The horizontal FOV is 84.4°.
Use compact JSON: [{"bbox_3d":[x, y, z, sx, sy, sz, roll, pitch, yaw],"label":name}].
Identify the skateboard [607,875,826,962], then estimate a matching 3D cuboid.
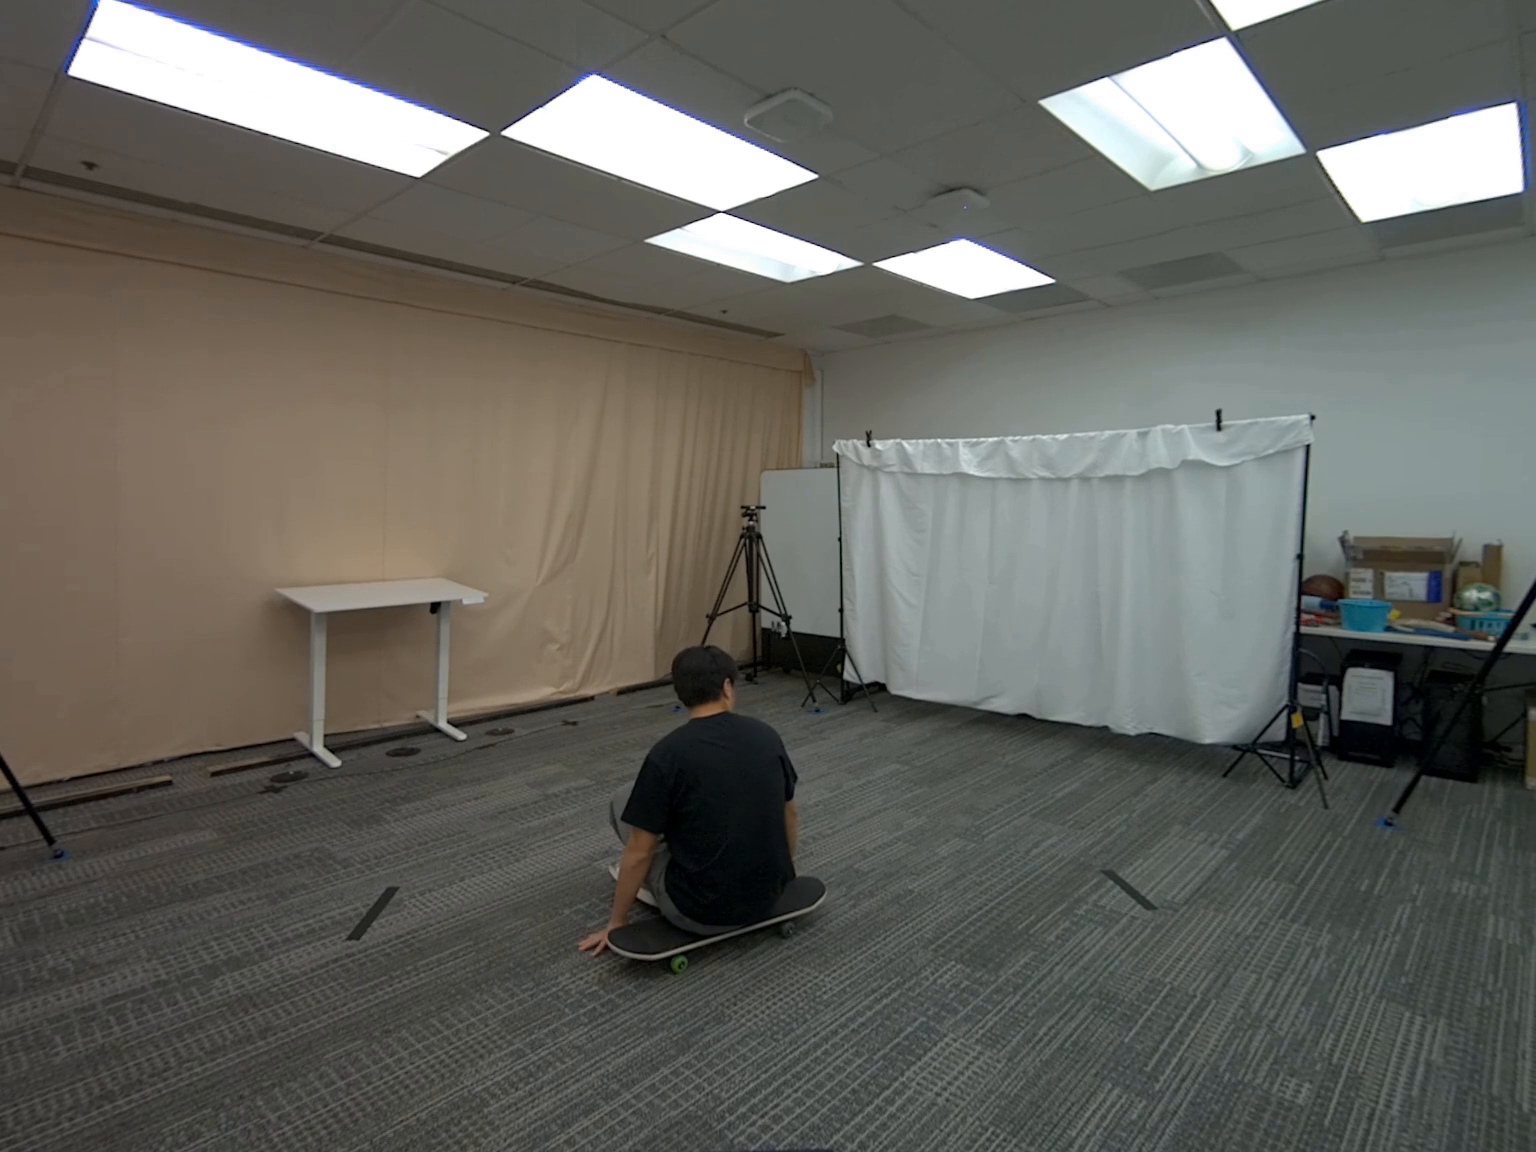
[{"bbox_3d":[-0.147,1.114,2.685,0.764,0.110,0.200,-3,9,-31],"label":"skateboard"}]
